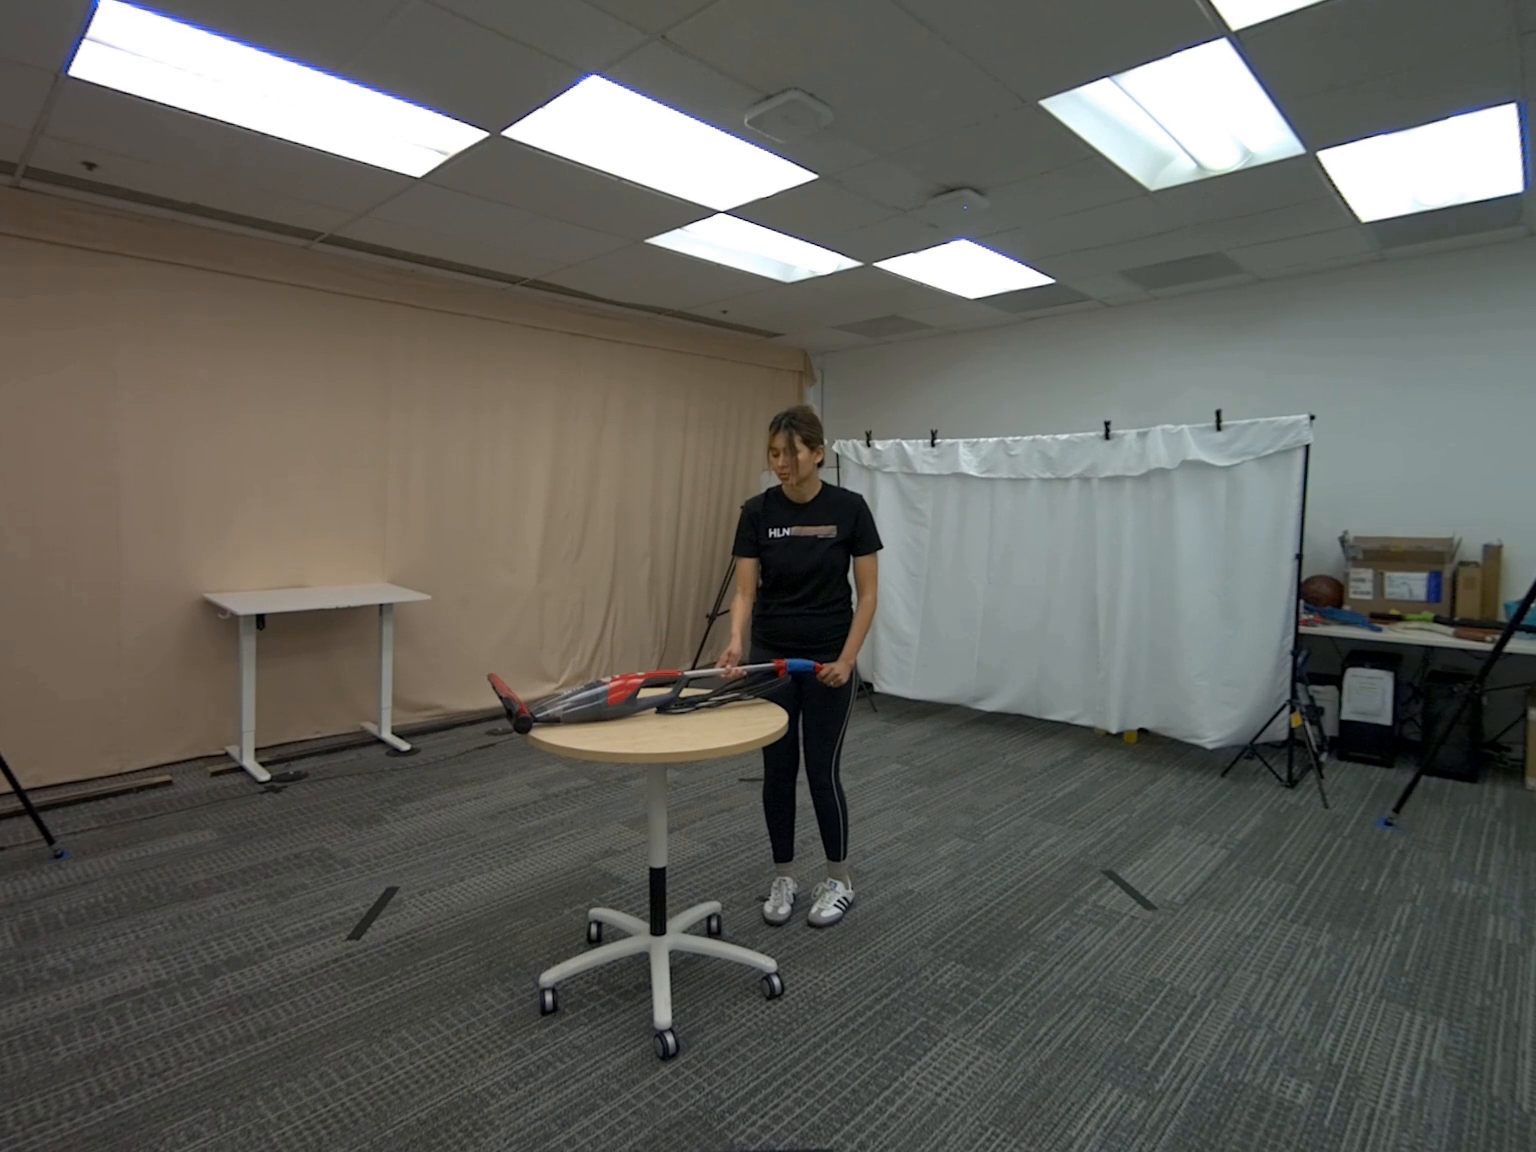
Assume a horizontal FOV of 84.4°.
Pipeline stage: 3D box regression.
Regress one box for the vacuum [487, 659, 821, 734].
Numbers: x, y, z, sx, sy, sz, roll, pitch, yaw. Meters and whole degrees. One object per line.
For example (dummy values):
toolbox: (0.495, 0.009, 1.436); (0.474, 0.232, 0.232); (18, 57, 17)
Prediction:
vacuum: (-0.256, 0.350, 2.489); (1.025, 0.143, 0.259); (-1, 5, -24)
